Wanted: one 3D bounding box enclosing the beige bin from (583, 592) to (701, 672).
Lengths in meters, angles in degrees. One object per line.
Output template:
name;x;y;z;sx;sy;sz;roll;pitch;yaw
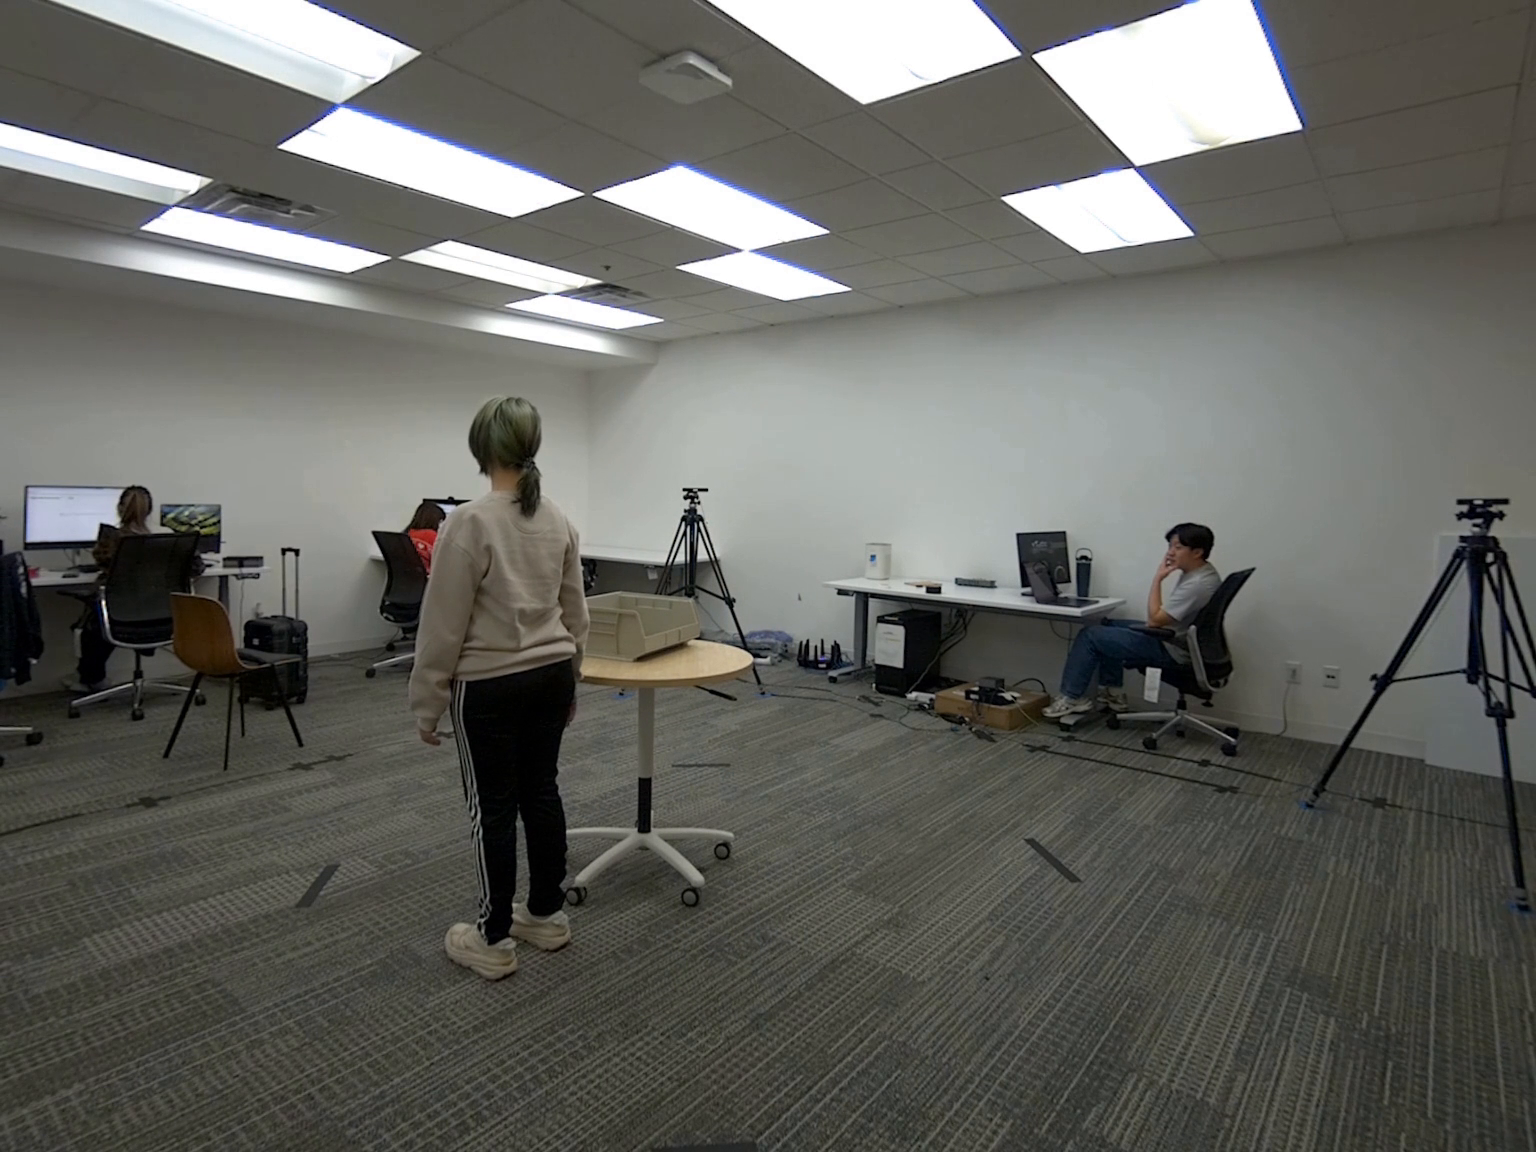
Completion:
beige bin;-0.521;0.183;3.184;0.387;0.188;0.413;2;6;24
